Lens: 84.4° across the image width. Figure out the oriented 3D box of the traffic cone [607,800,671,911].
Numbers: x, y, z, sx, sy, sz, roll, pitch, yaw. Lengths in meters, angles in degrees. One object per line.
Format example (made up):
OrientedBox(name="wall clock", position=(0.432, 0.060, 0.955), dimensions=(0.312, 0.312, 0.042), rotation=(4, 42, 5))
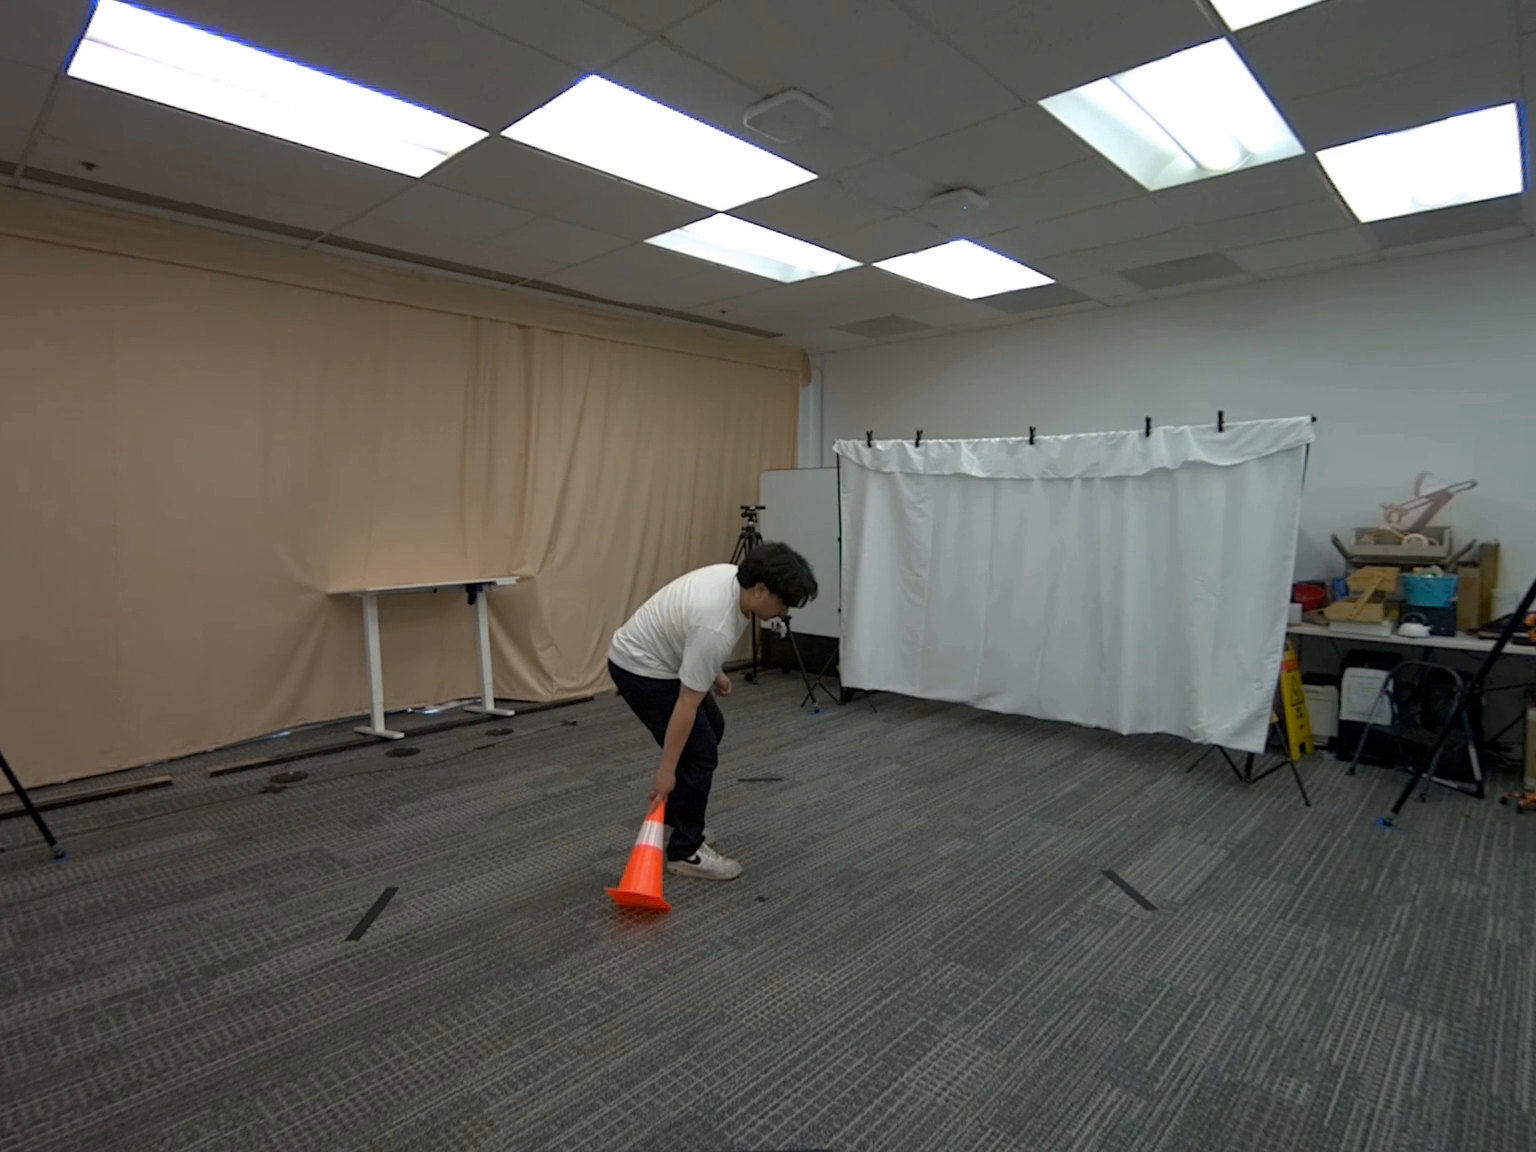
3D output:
OrientedBox(name="traffic cone", position=(-0.411, 0.939, 2.954), dimensions=(0.208, 0.388, 0.198), rotation=(4, -33, 10))
